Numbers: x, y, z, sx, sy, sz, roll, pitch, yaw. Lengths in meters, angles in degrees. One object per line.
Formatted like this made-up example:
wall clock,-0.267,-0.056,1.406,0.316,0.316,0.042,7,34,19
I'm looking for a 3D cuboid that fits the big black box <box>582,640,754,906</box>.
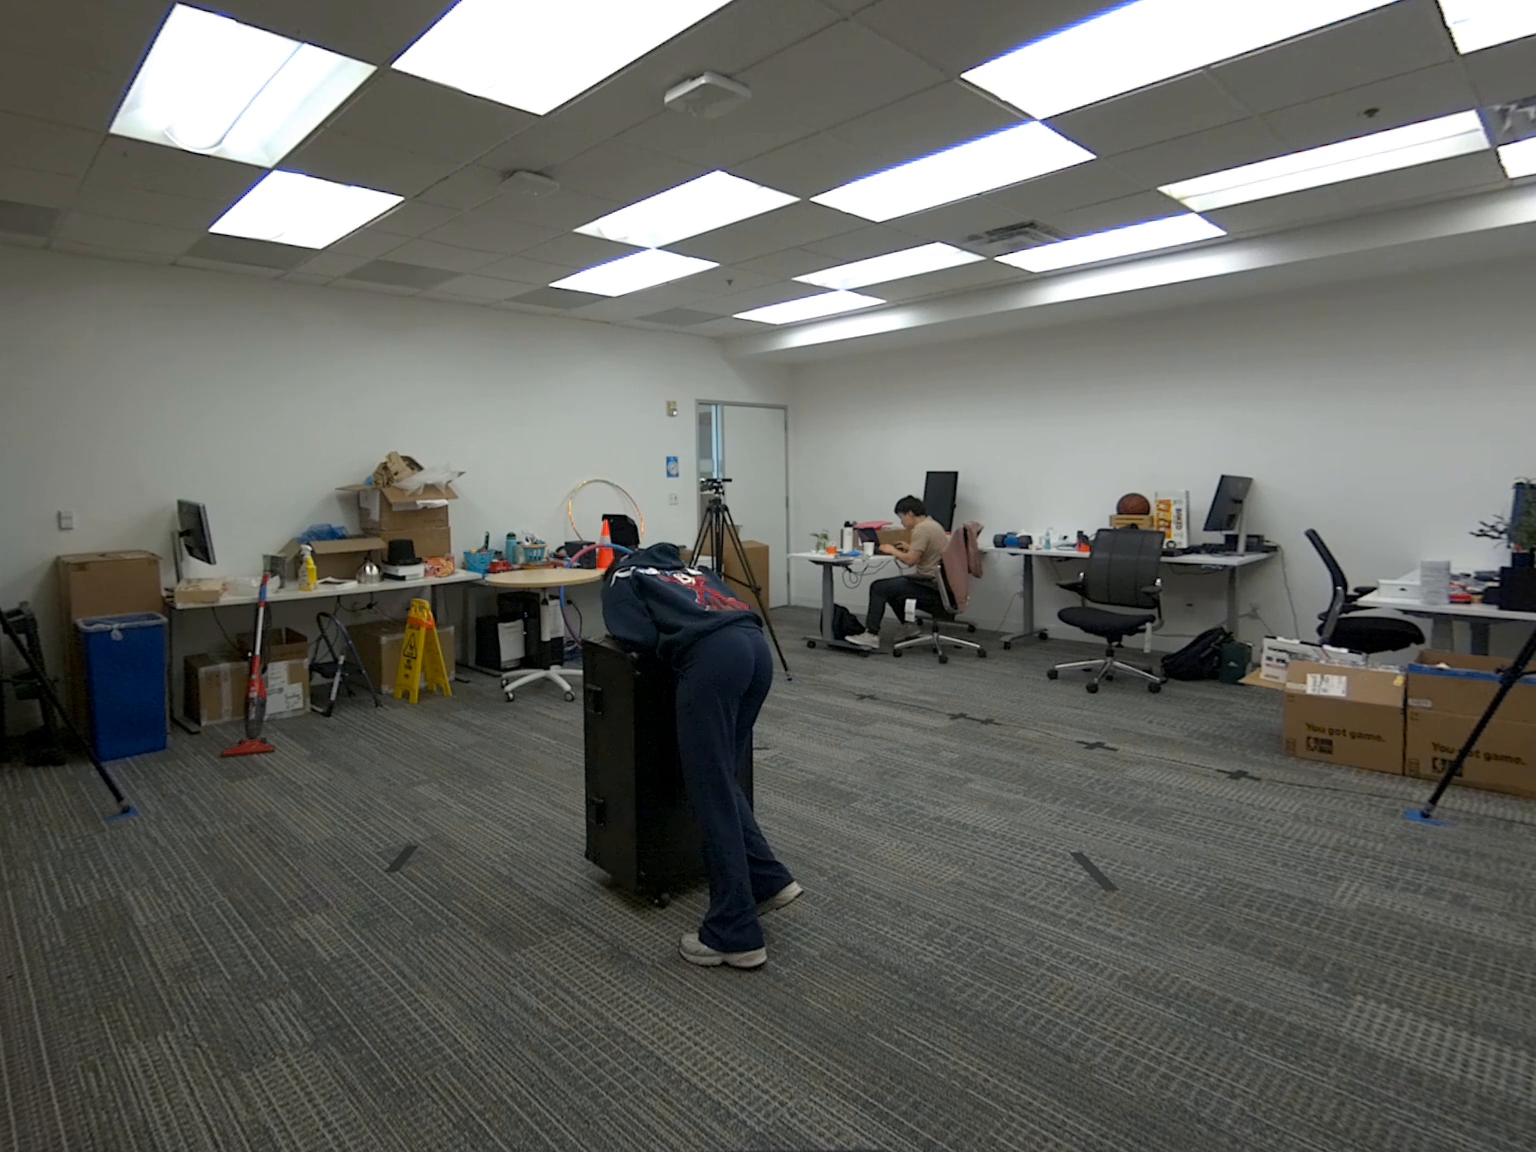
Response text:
big black box,-0.335,0.639,2.988,0.507,0.858,0.408,-3,5,-38
